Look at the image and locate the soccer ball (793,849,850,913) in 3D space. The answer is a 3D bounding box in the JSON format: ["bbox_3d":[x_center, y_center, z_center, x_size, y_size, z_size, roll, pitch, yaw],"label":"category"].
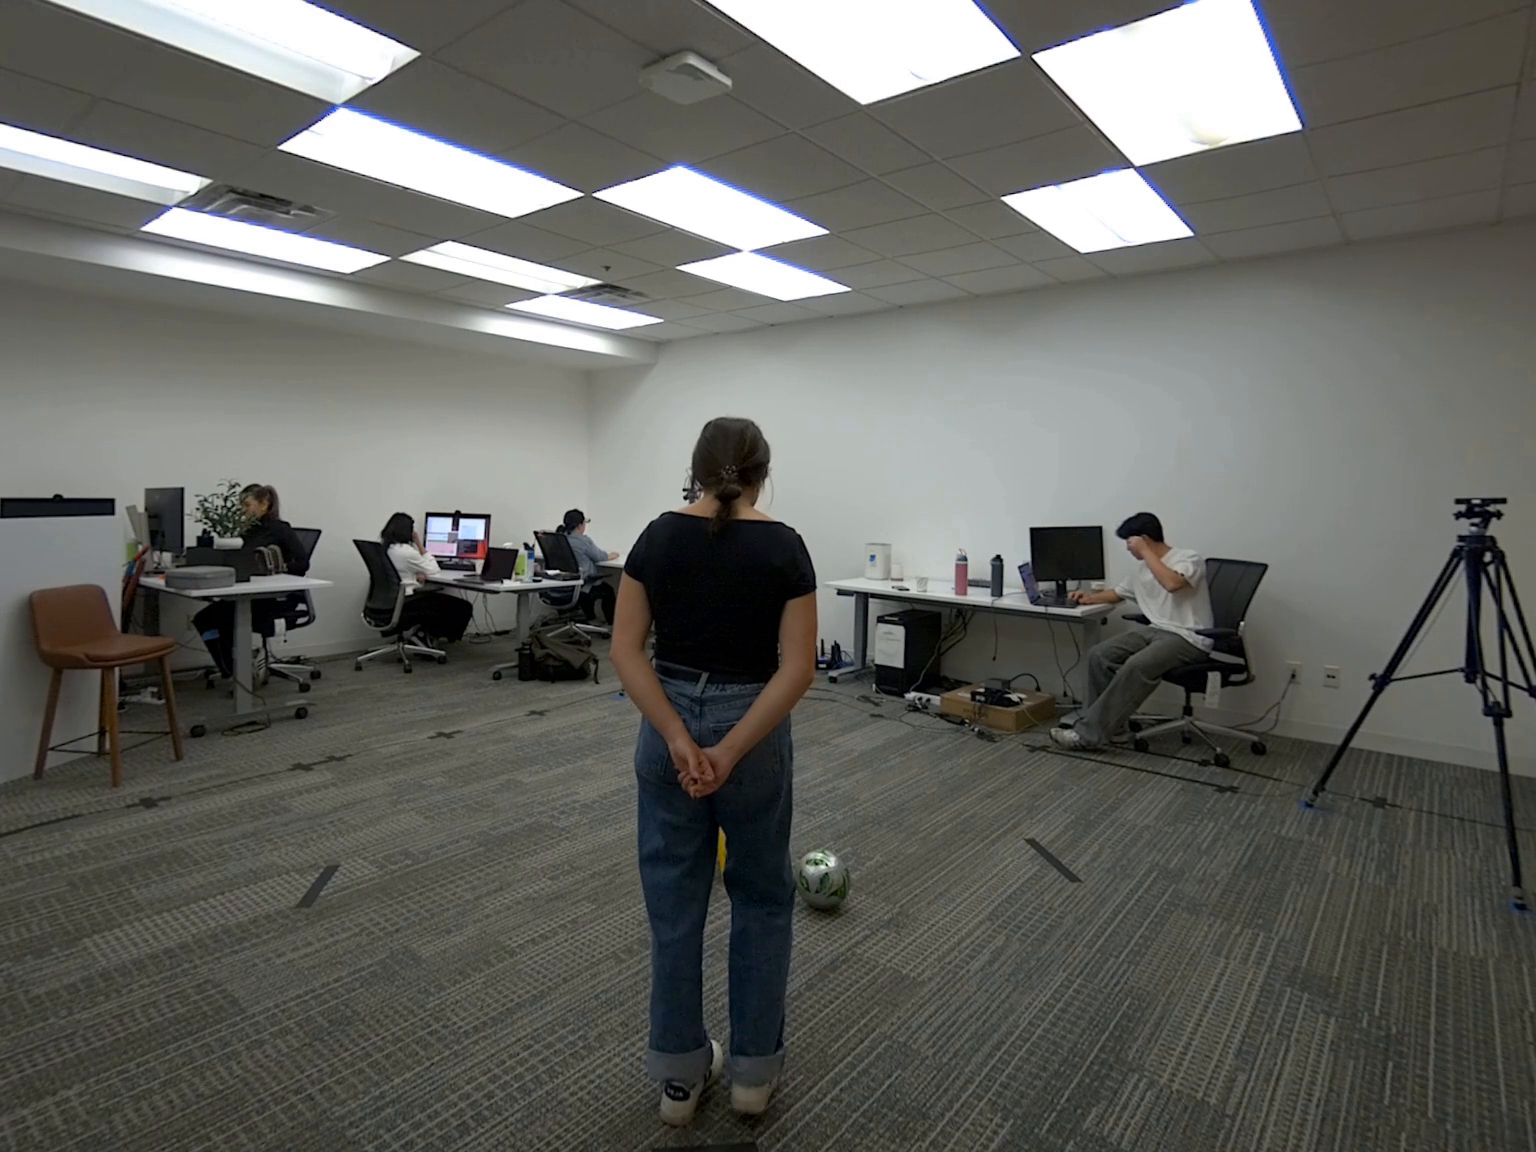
[{"bbox_3d":[0.183,1.003,2.846,0.187,0.187,0.188,1,4,-2],"label":"soccer ball"}]
